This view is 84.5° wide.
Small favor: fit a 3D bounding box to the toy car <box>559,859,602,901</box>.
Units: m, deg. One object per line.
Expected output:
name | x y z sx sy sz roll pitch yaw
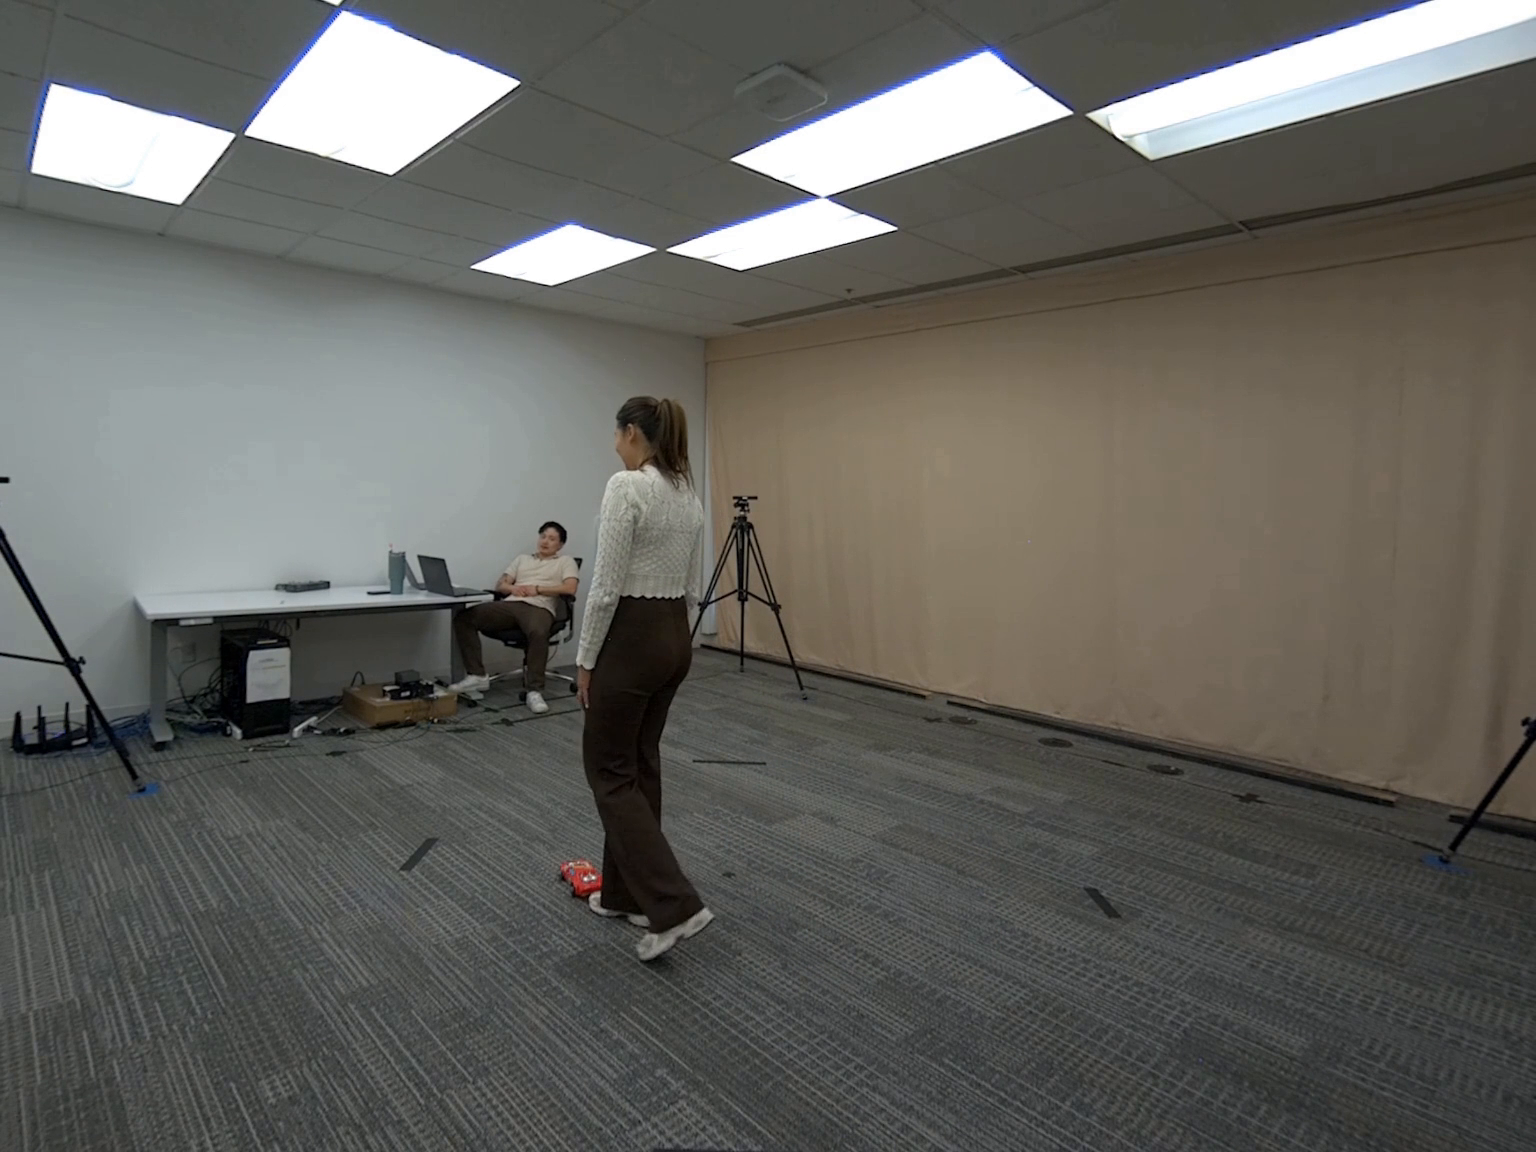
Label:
toy car | -0.662 1.075 2.972 0.128 0.083 0.258 -2 -4 -28
